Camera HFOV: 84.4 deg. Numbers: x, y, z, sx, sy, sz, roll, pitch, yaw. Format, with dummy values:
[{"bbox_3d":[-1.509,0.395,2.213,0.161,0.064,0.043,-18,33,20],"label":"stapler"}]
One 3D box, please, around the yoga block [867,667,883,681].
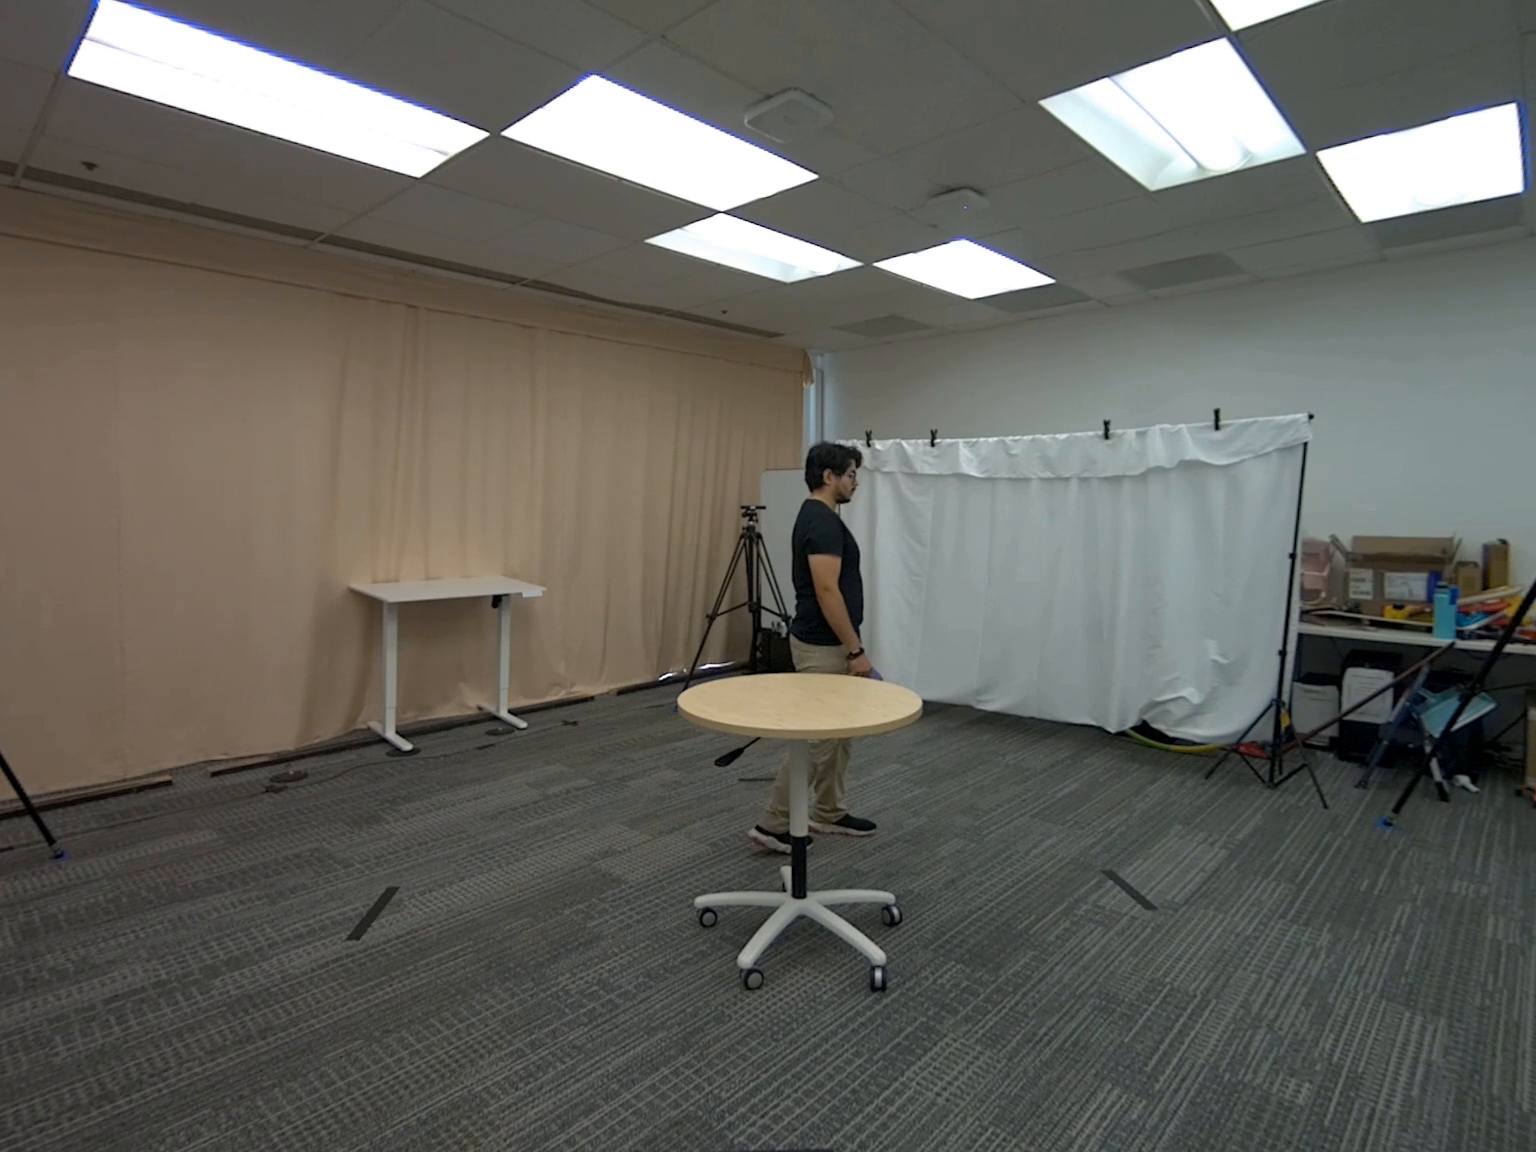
[{"bbox_3d":[0.388,0.427,3.777,0.147,0.231,0.077,-37,-5,-21],"label":"yoga block"}]
